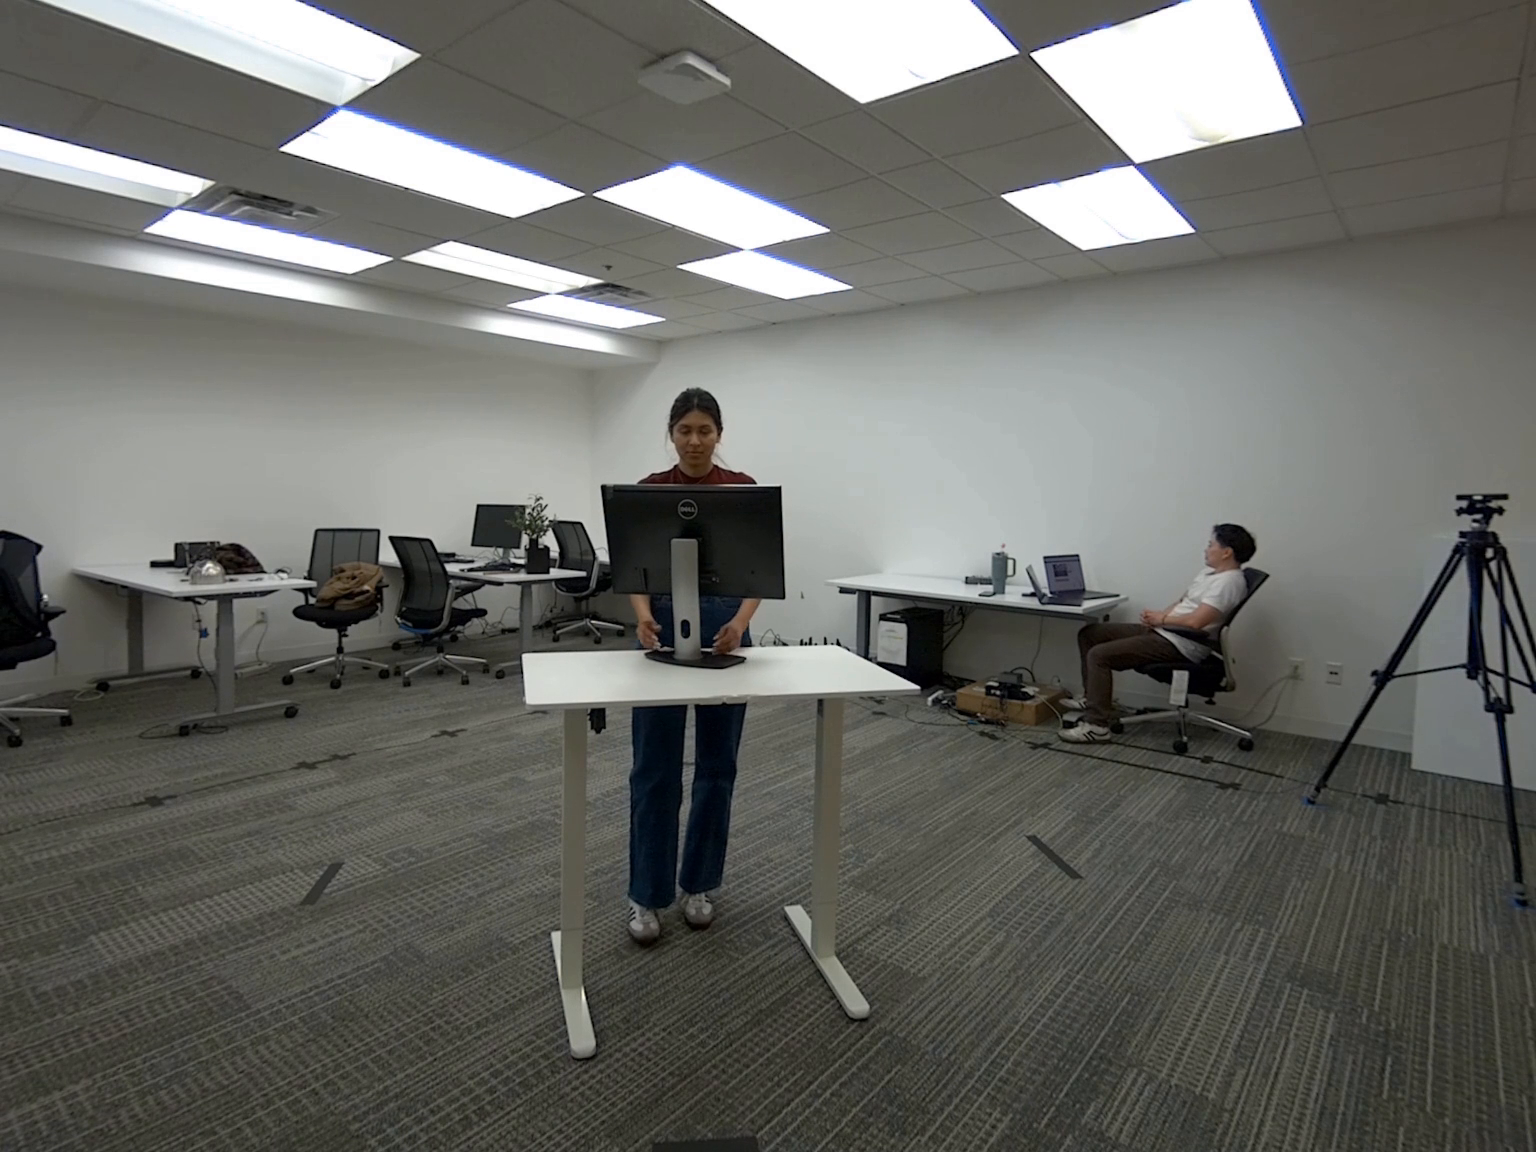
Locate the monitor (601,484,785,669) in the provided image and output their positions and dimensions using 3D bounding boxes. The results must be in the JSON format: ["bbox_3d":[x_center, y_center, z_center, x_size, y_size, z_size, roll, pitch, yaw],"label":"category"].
[{"bbox_3d":[-0.241,-0.007,2.475,0.545,0.519,0.186,1,7,10],"label":"monitor"}]
